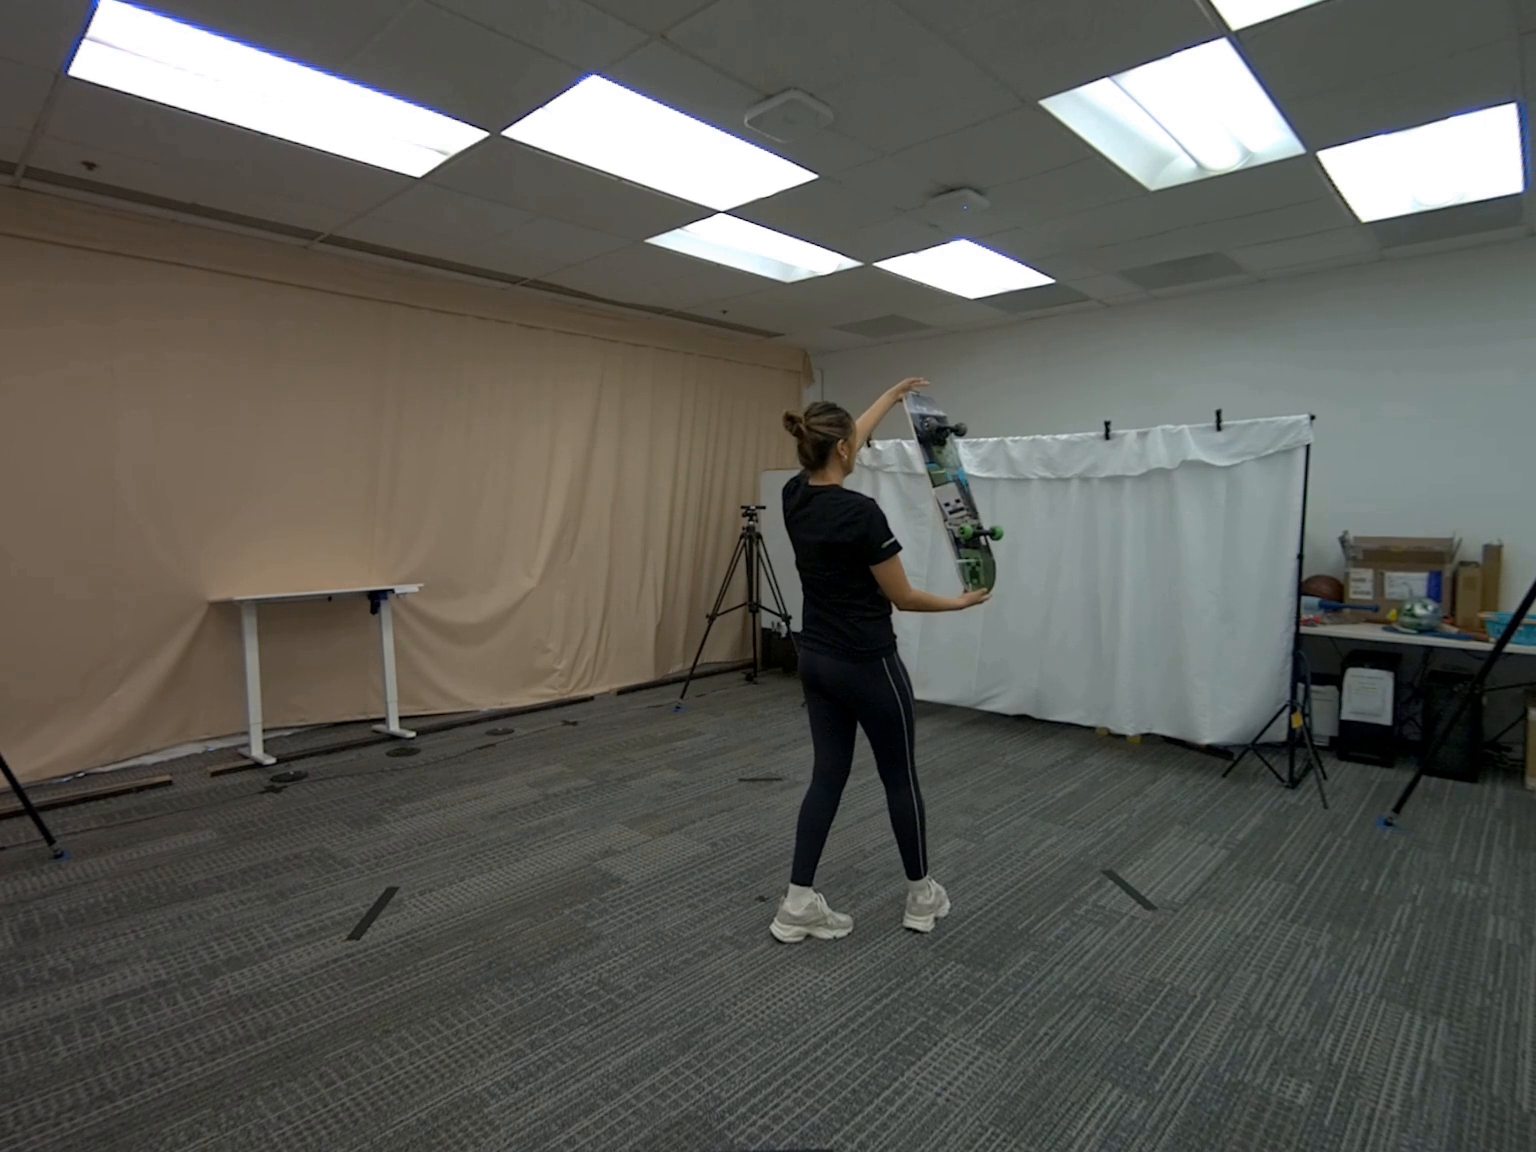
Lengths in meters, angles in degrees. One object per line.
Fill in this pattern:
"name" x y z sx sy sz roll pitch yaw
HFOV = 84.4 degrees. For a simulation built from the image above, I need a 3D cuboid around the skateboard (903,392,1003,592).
"skateboard" 0.649 -0.316 2.871 0.188 0.798 0.112 0 -24 -35
